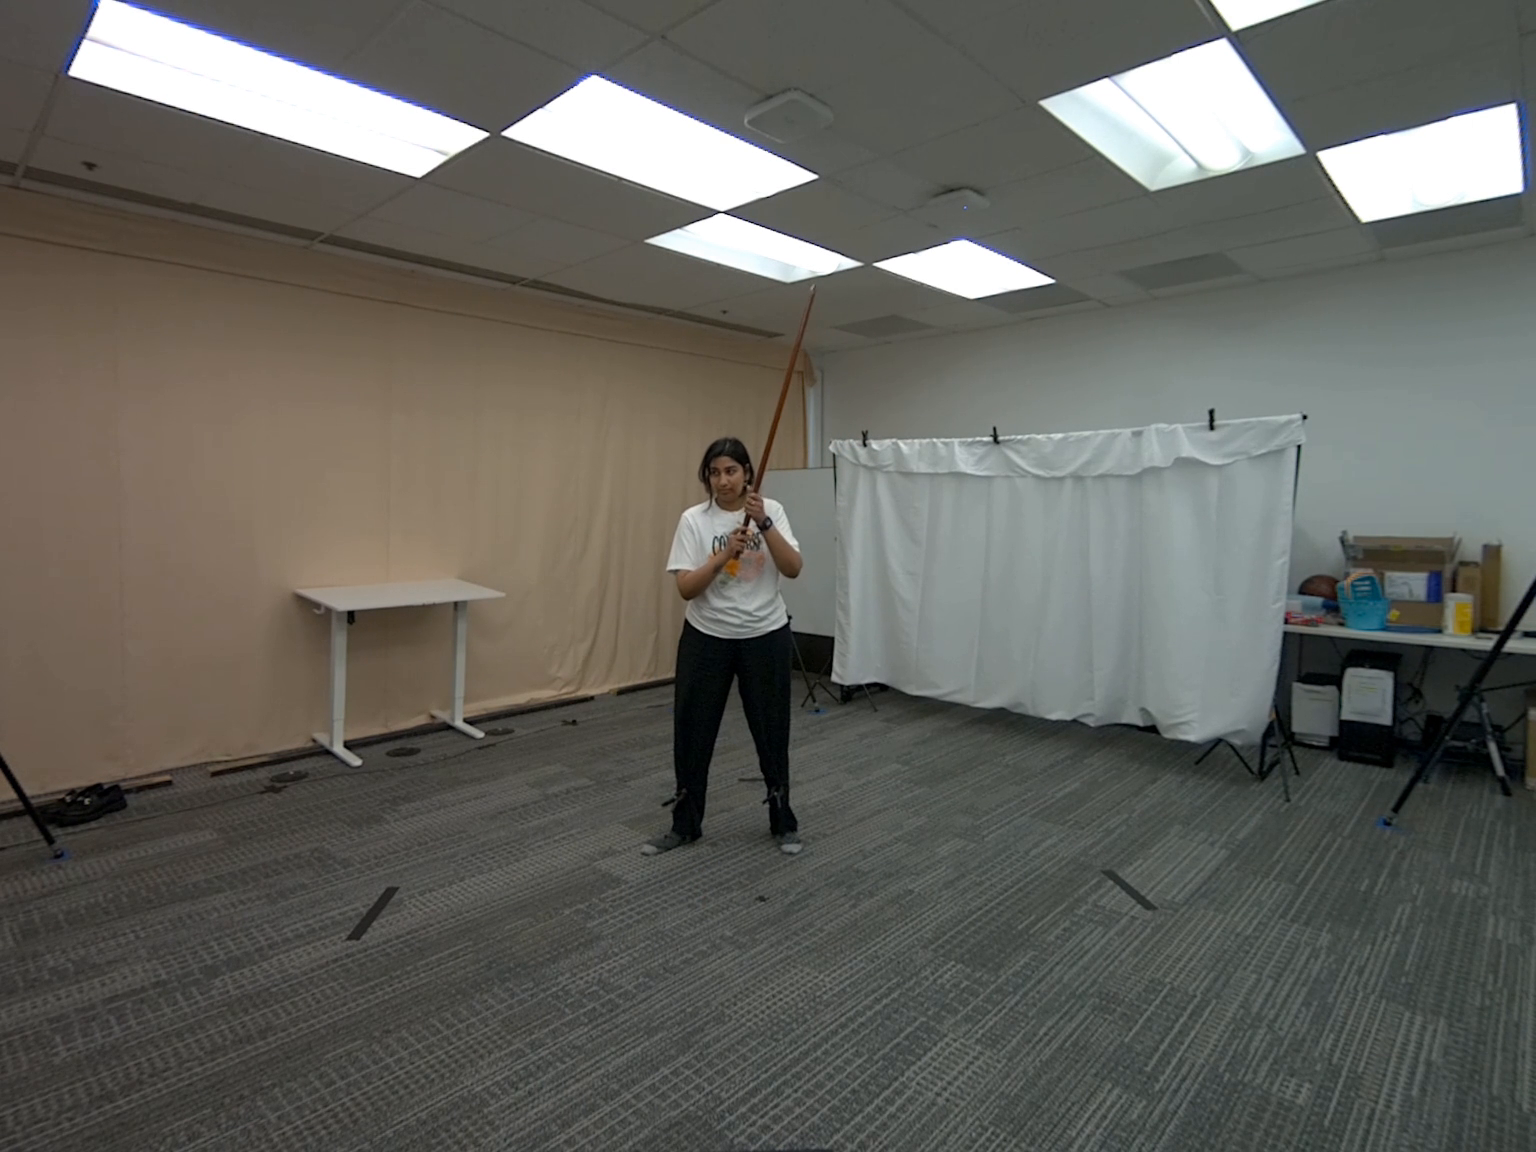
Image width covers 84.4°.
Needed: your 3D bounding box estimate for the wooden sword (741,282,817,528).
[{"bbox_3d":[0.025,-0.546,3.035,0.025,1.022,0.050,22,11,28],"label":"wooden sword"}]
